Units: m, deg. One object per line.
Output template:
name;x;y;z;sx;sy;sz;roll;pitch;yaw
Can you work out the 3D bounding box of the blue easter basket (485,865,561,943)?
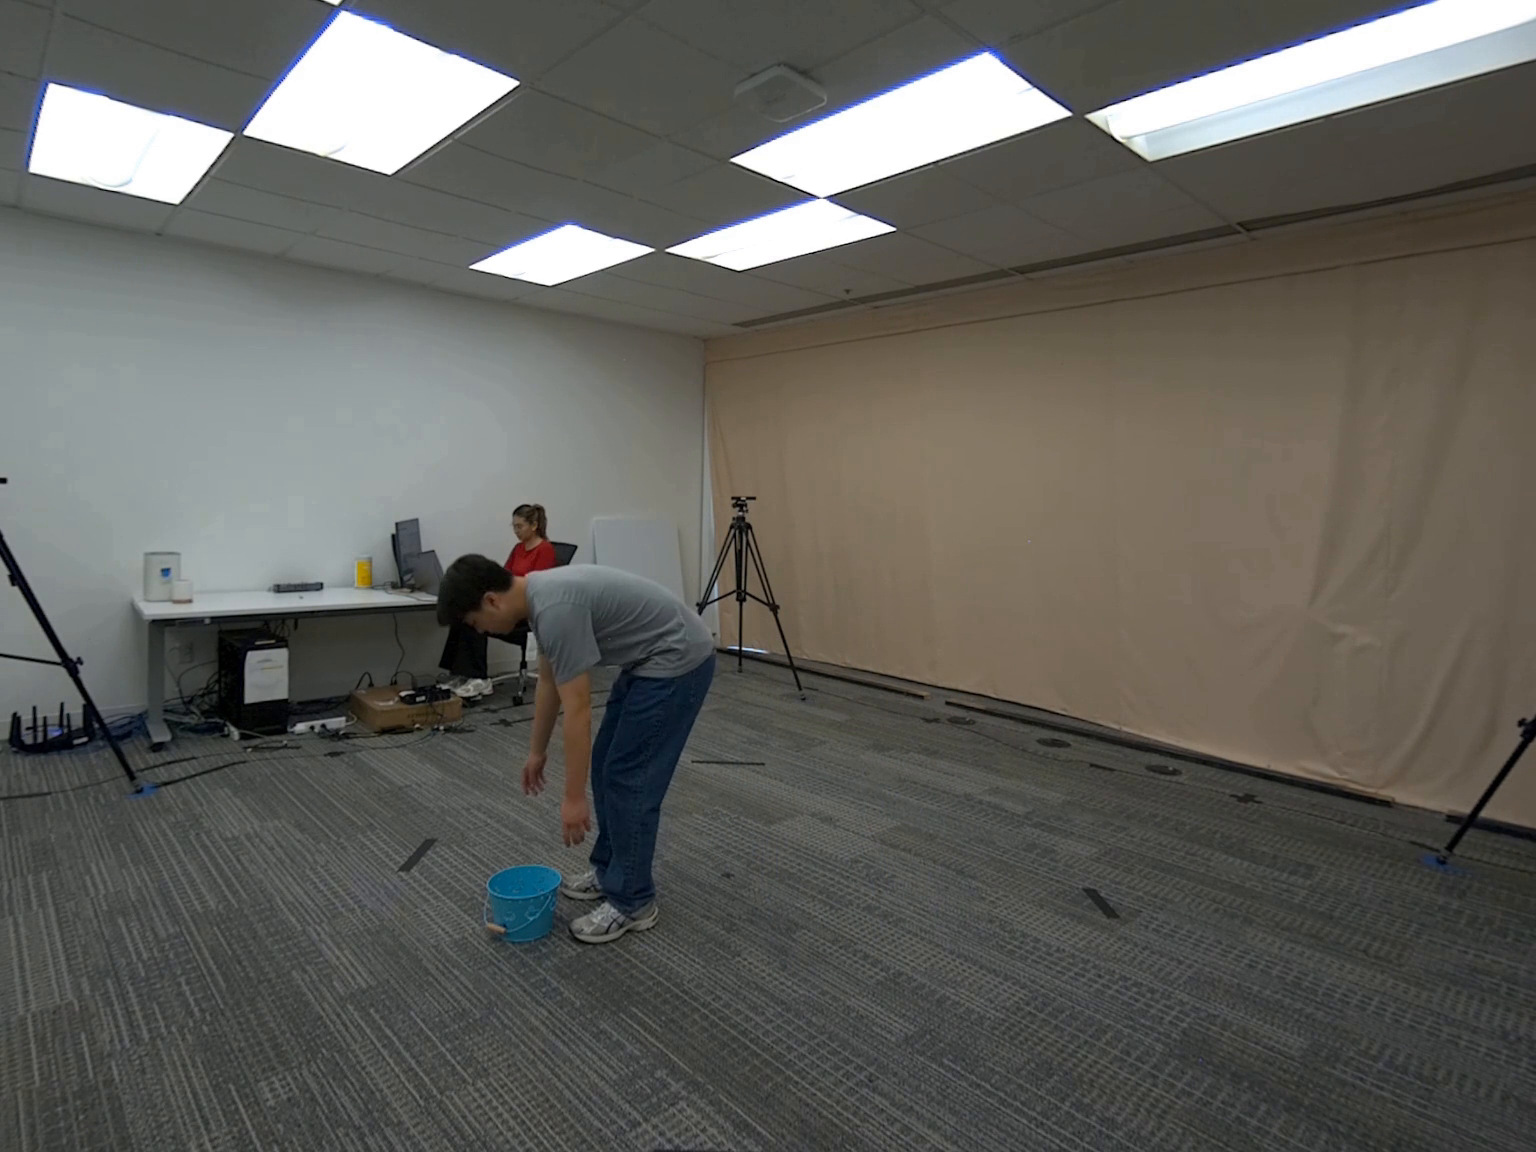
blue easter basket;-0.780;1.044;2.700;0.243;0.155;0.244;2;5;-2
